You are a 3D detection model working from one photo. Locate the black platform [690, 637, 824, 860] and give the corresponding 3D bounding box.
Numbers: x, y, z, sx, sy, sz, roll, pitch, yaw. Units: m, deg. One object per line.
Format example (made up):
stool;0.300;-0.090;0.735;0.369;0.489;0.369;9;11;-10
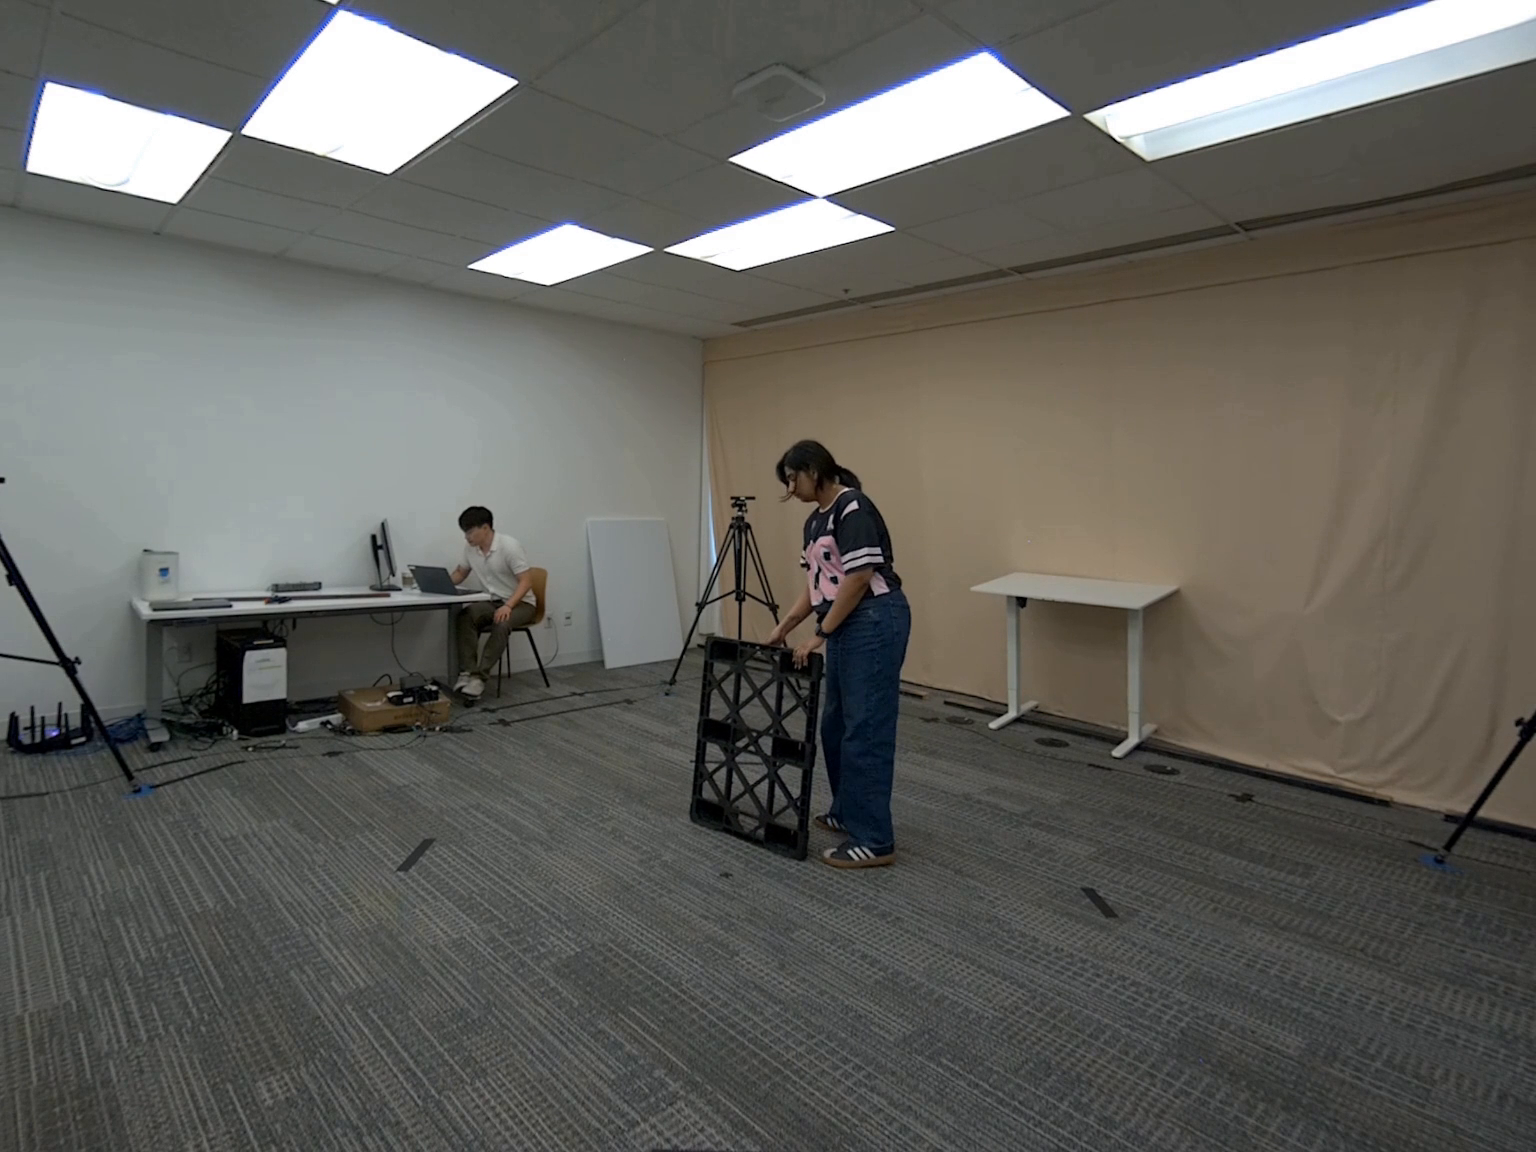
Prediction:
black platform;-0.040;0.680;3.482;0.620;0.806;0.139;5;-1;40
